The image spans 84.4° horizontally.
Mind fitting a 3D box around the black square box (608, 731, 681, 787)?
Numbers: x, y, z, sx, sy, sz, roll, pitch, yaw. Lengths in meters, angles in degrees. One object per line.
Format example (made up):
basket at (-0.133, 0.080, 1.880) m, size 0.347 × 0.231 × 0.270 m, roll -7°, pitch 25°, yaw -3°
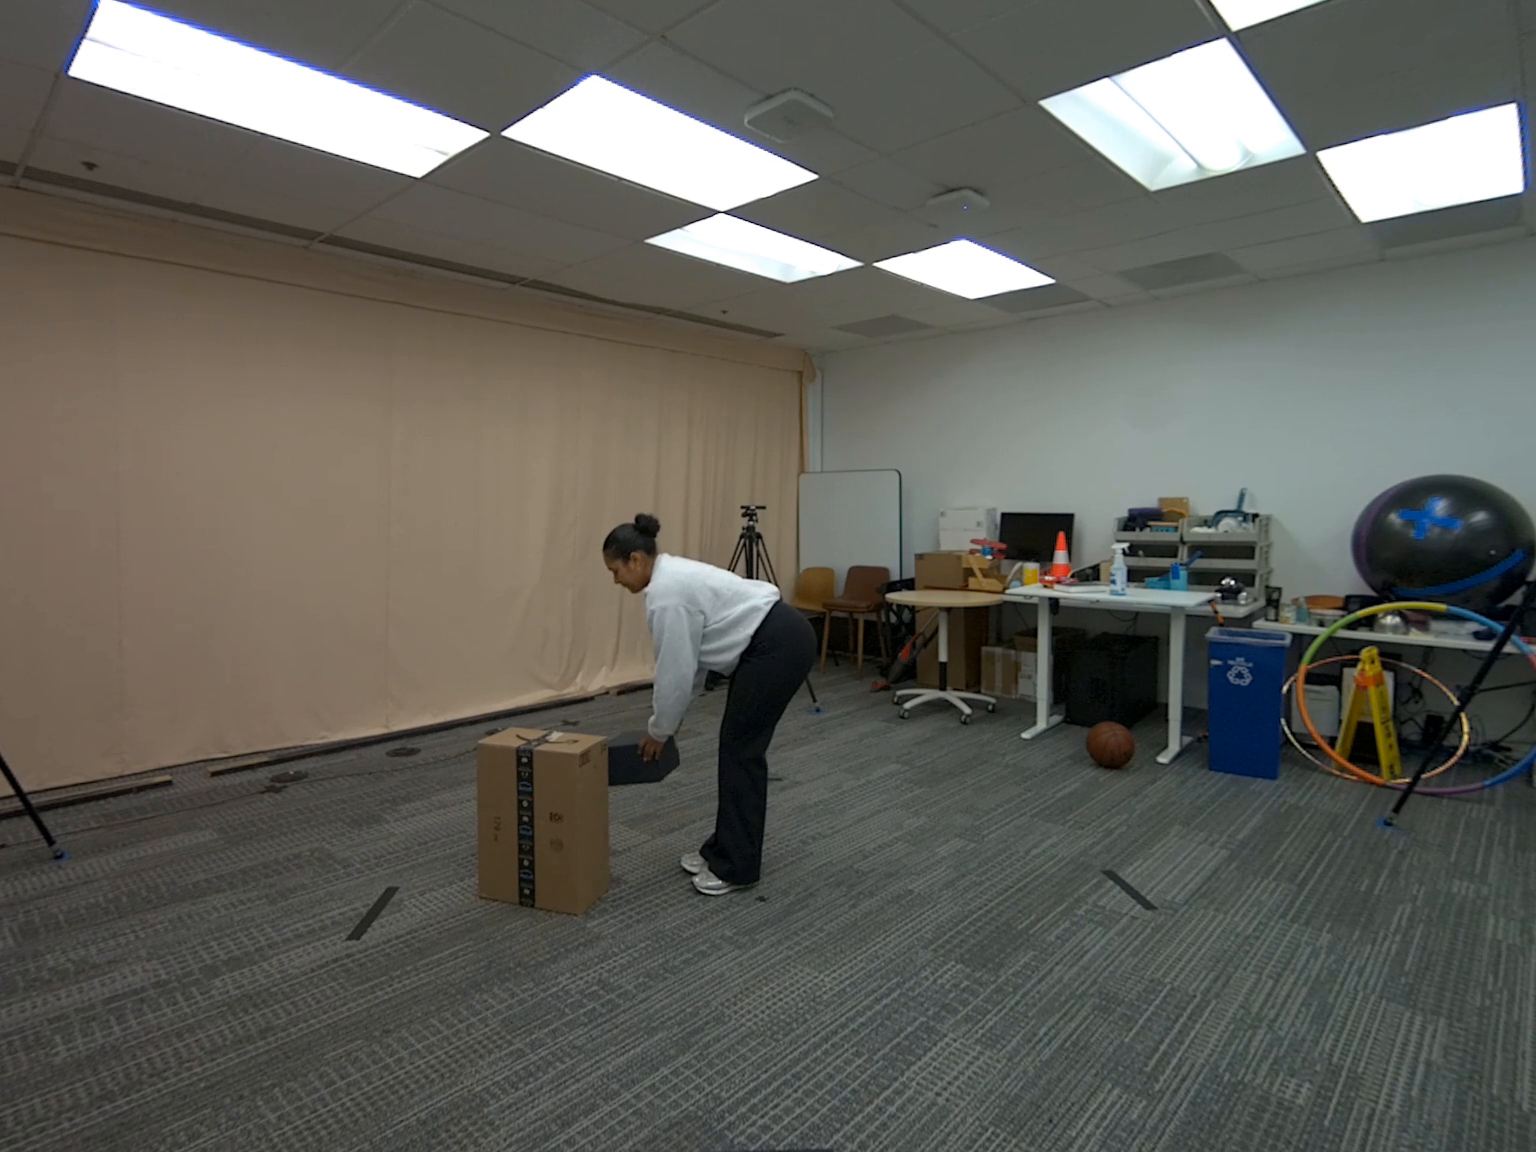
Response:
black square box at (-0.498, 0.708, 3.298) m, size 0.231 × 0.156 × 0.214 m, roll -9°, pitch 3°, yaw 16°
